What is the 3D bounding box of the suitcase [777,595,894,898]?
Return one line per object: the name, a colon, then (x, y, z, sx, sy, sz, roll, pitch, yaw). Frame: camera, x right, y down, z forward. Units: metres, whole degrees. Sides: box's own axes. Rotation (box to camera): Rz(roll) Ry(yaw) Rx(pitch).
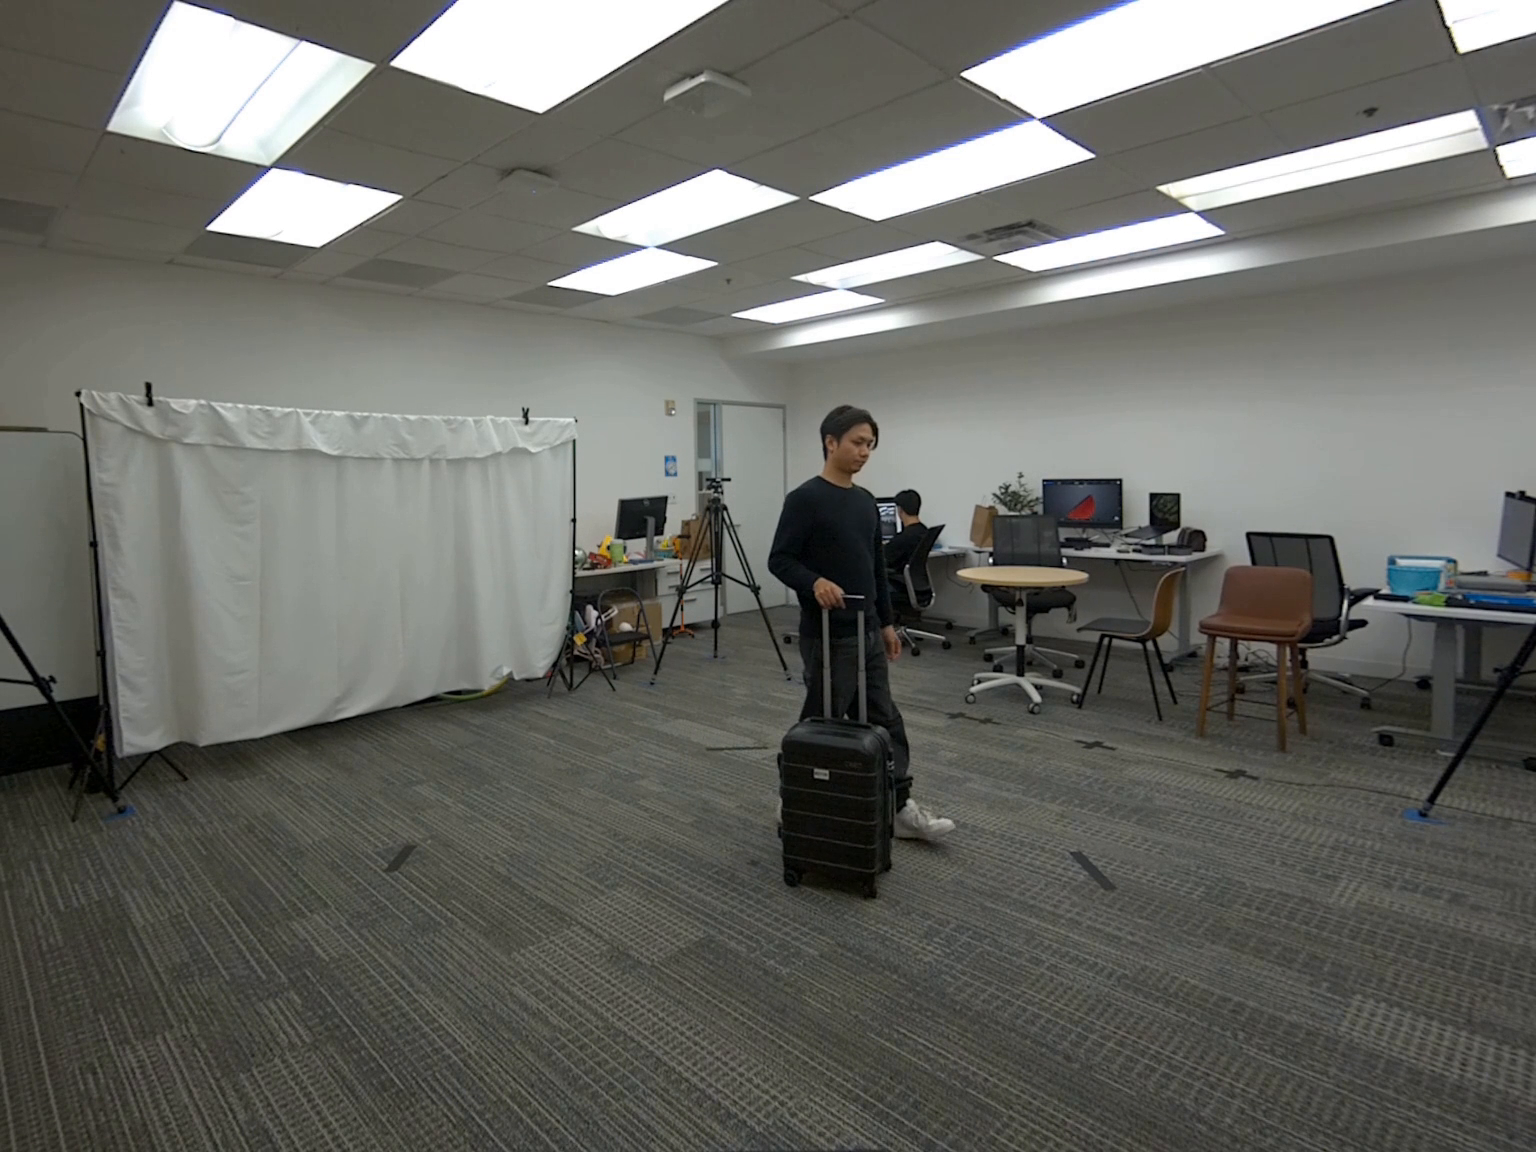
suitcase: (0.239, 0.591, 2.920, 0.392, 0.971, 0.254, 2, 9, 21)
